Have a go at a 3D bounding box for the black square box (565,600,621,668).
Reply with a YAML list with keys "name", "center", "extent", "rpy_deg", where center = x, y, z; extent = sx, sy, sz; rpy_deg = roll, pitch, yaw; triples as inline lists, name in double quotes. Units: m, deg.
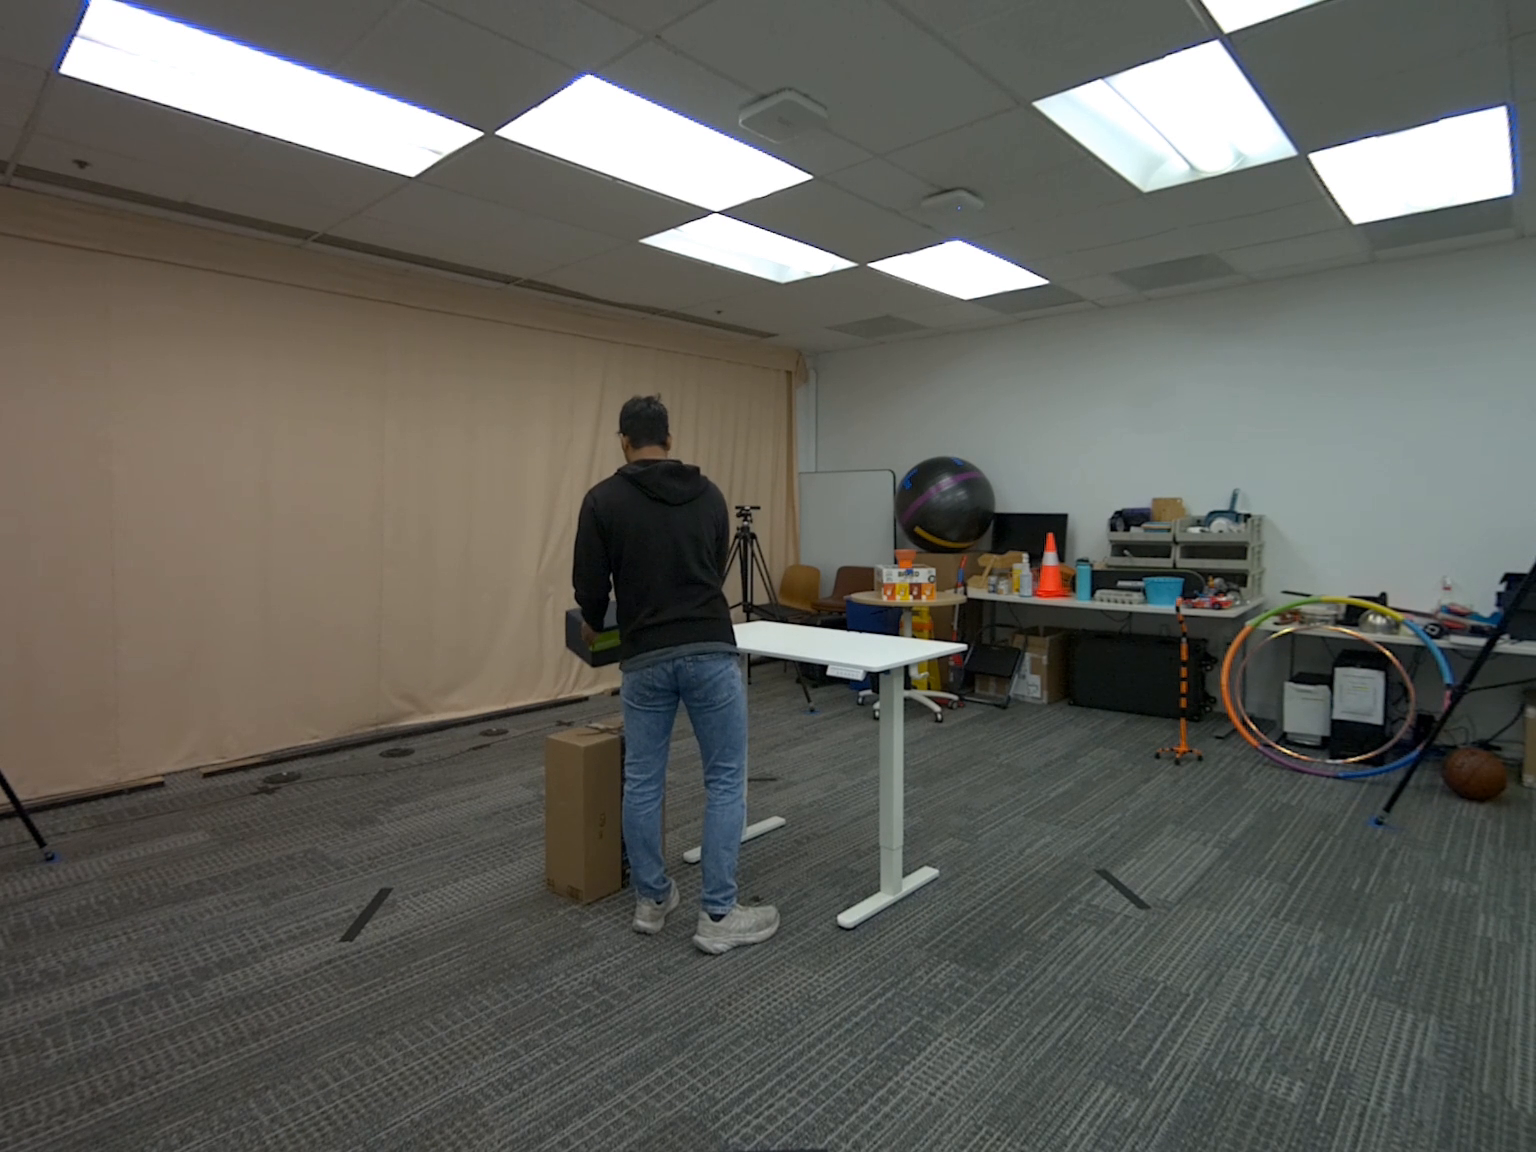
- name: "black square box"
  center: [-0.606, 0.225, 3.212]
  extent: [0.222, 0.154, 0.225]
  rpy_deg: [-12, 24, -39]
